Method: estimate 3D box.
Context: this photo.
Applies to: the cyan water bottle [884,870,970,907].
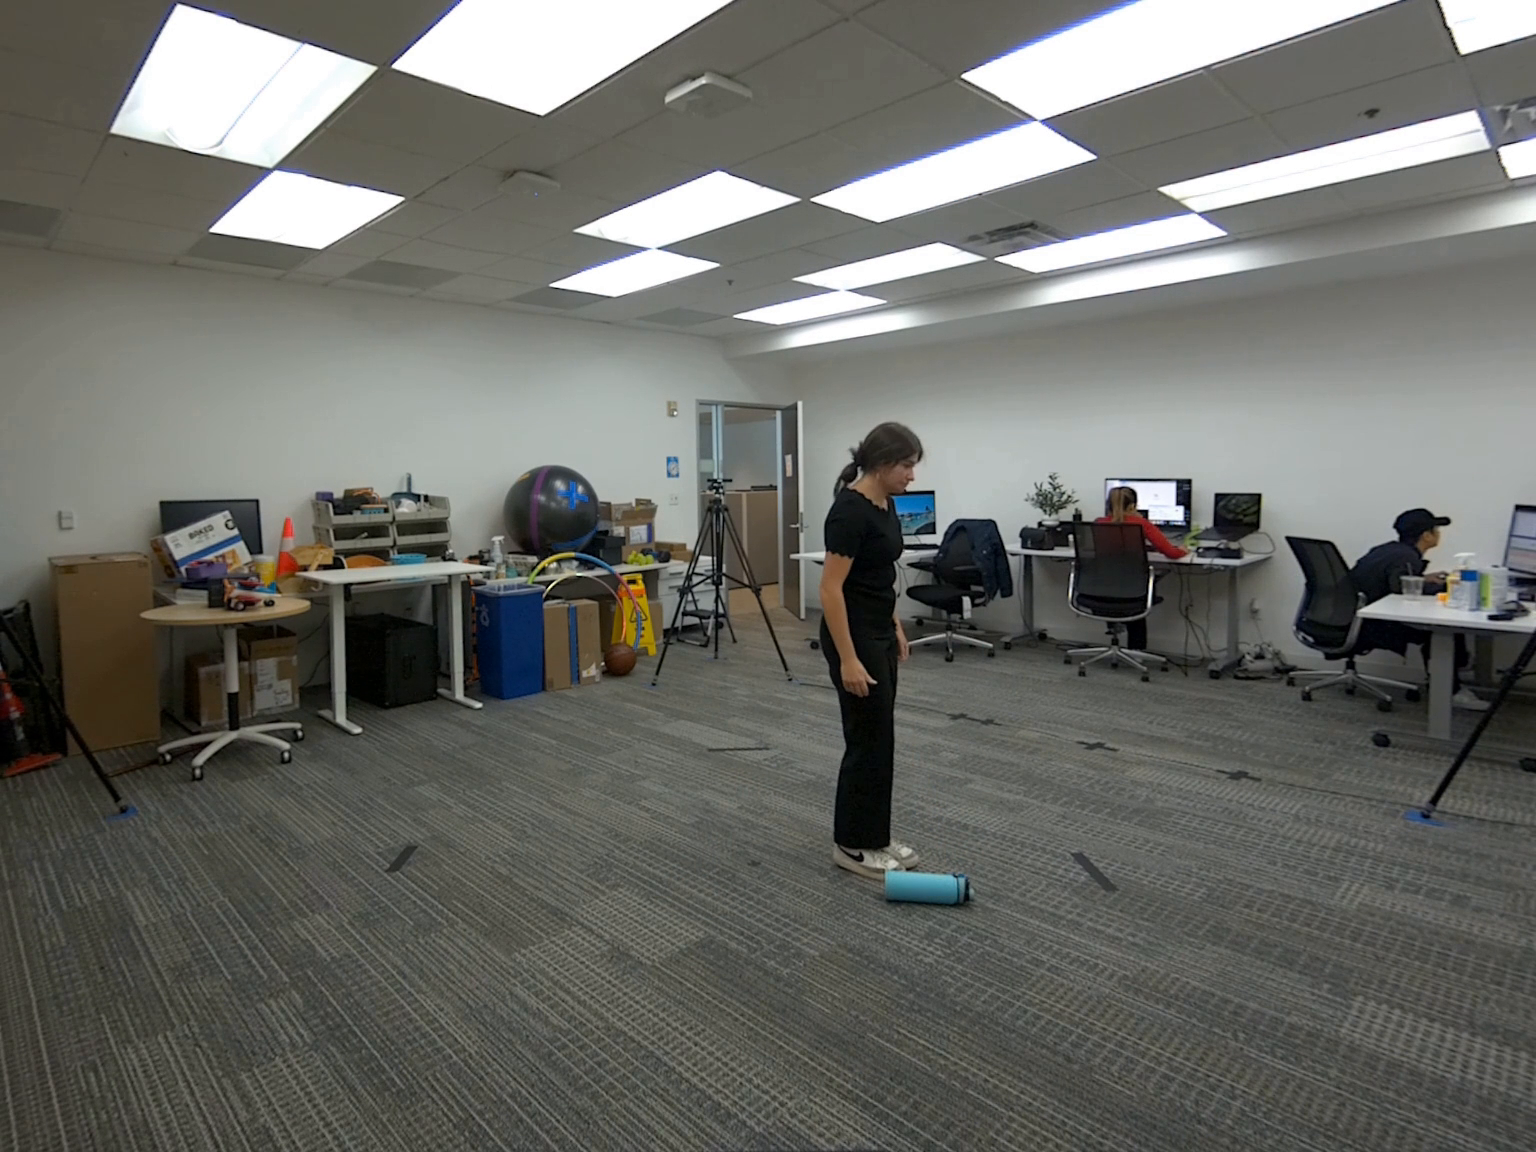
[{"bbox_3d":[0.535,1.026,2.801,0.286,0.092,0.092,-1,5,10],"label":"cyan water bottle"}]
